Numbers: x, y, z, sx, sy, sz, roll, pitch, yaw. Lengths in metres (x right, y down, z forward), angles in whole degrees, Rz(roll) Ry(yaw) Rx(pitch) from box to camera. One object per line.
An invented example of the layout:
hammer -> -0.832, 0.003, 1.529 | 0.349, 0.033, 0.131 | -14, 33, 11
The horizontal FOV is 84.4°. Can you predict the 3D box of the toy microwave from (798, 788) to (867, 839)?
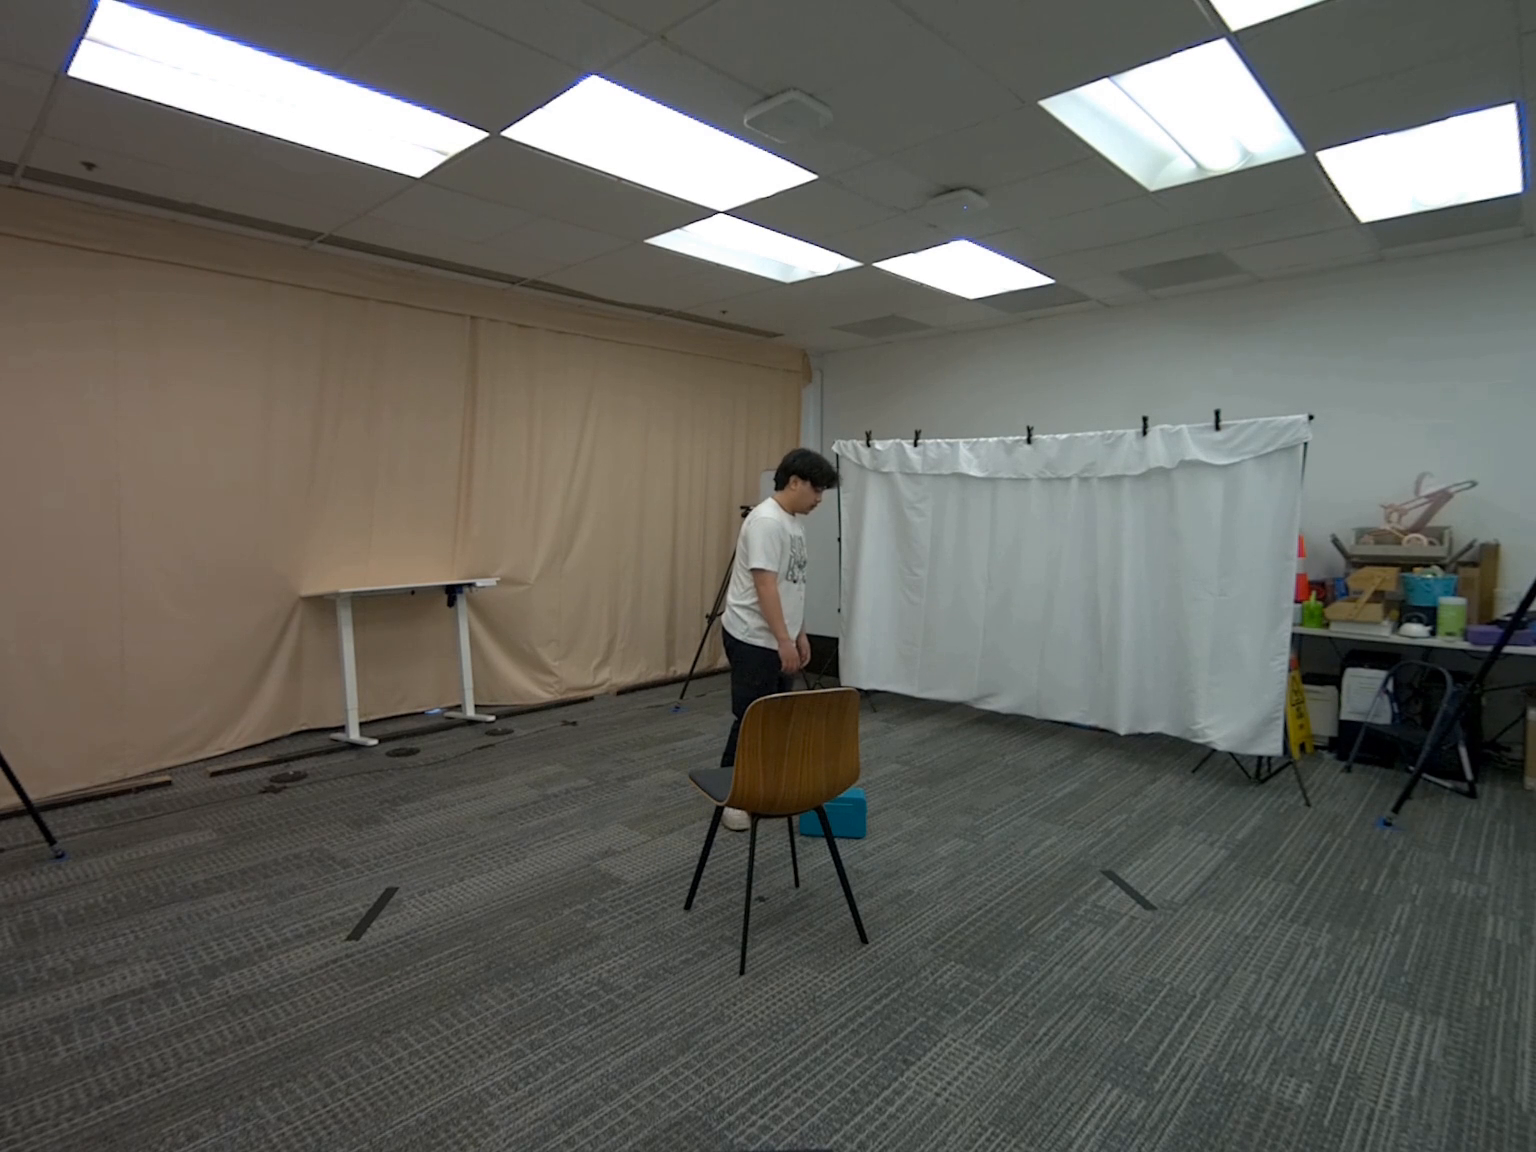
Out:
toy microwave -> 0.276, 1.000, 3.592 | 0.288, 0.183, 0.152 | 0, 6, 7
